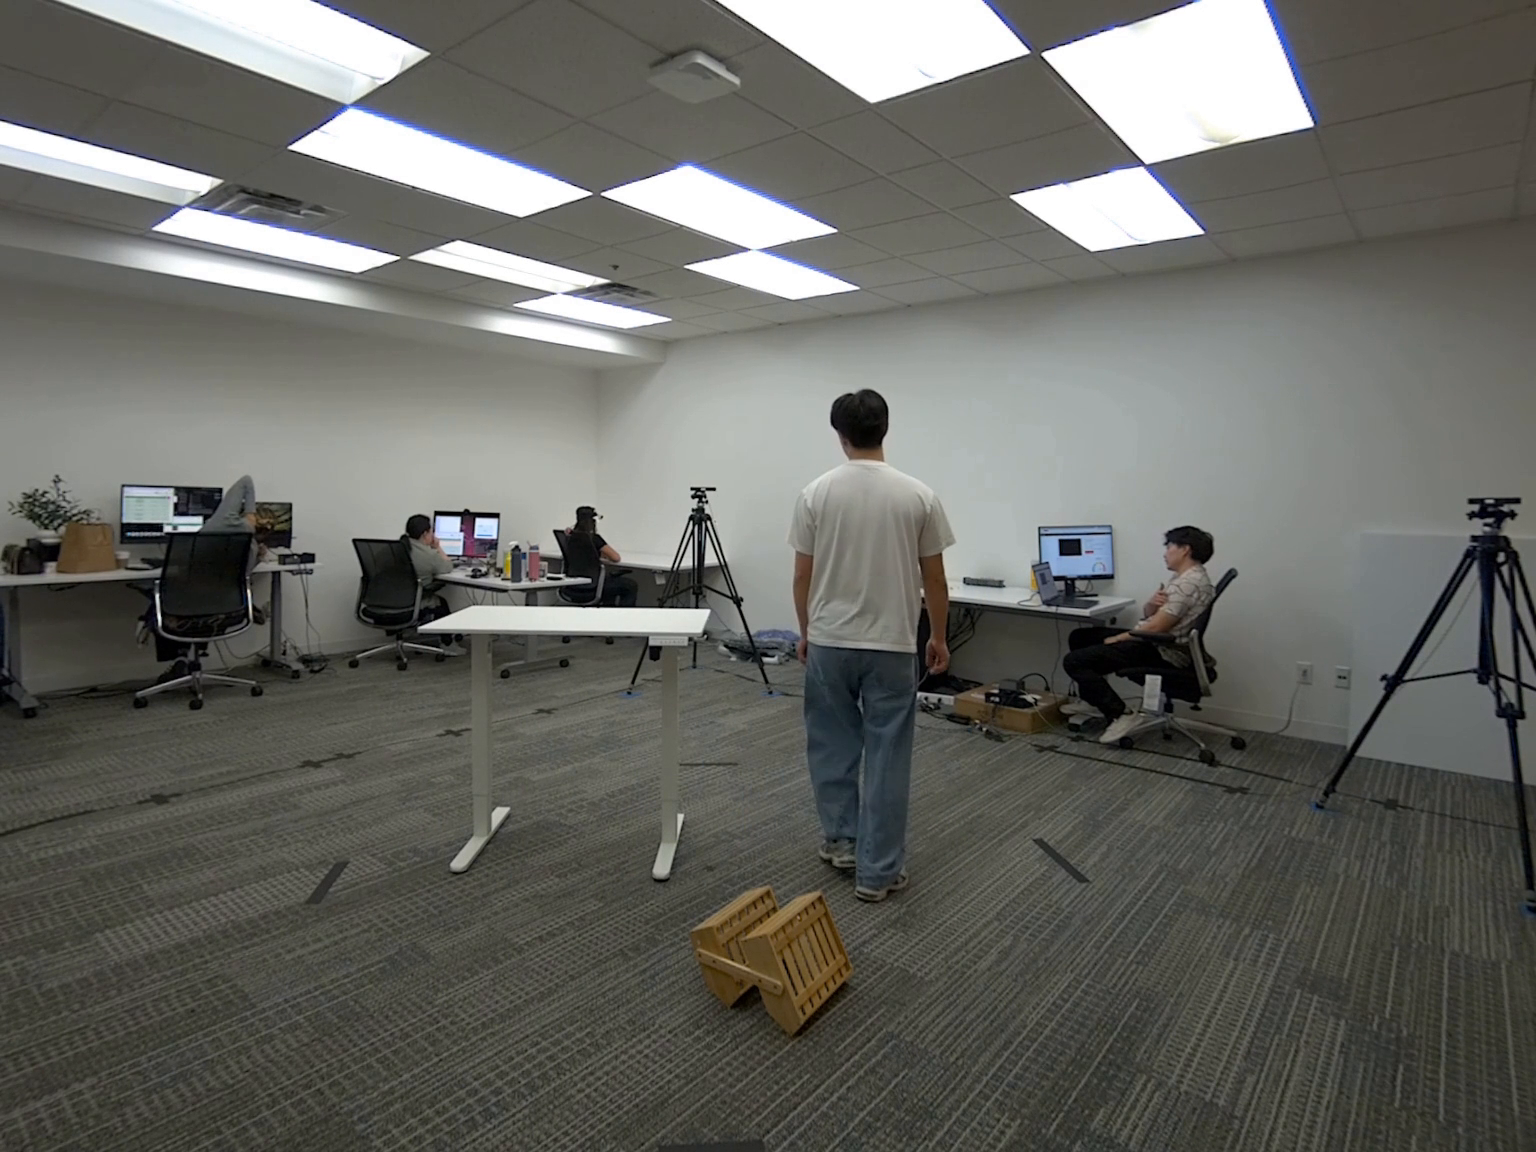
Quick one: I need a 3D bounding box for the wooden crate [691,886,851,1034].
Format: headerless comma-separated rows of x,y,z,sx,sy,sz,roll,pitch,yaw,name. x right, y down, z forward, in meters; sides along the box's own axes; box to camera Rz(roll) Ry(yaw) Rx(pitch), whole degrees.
0.005,1.055,2.368,0.276,0.307,0.315,-29,-13,31,wooden crate
